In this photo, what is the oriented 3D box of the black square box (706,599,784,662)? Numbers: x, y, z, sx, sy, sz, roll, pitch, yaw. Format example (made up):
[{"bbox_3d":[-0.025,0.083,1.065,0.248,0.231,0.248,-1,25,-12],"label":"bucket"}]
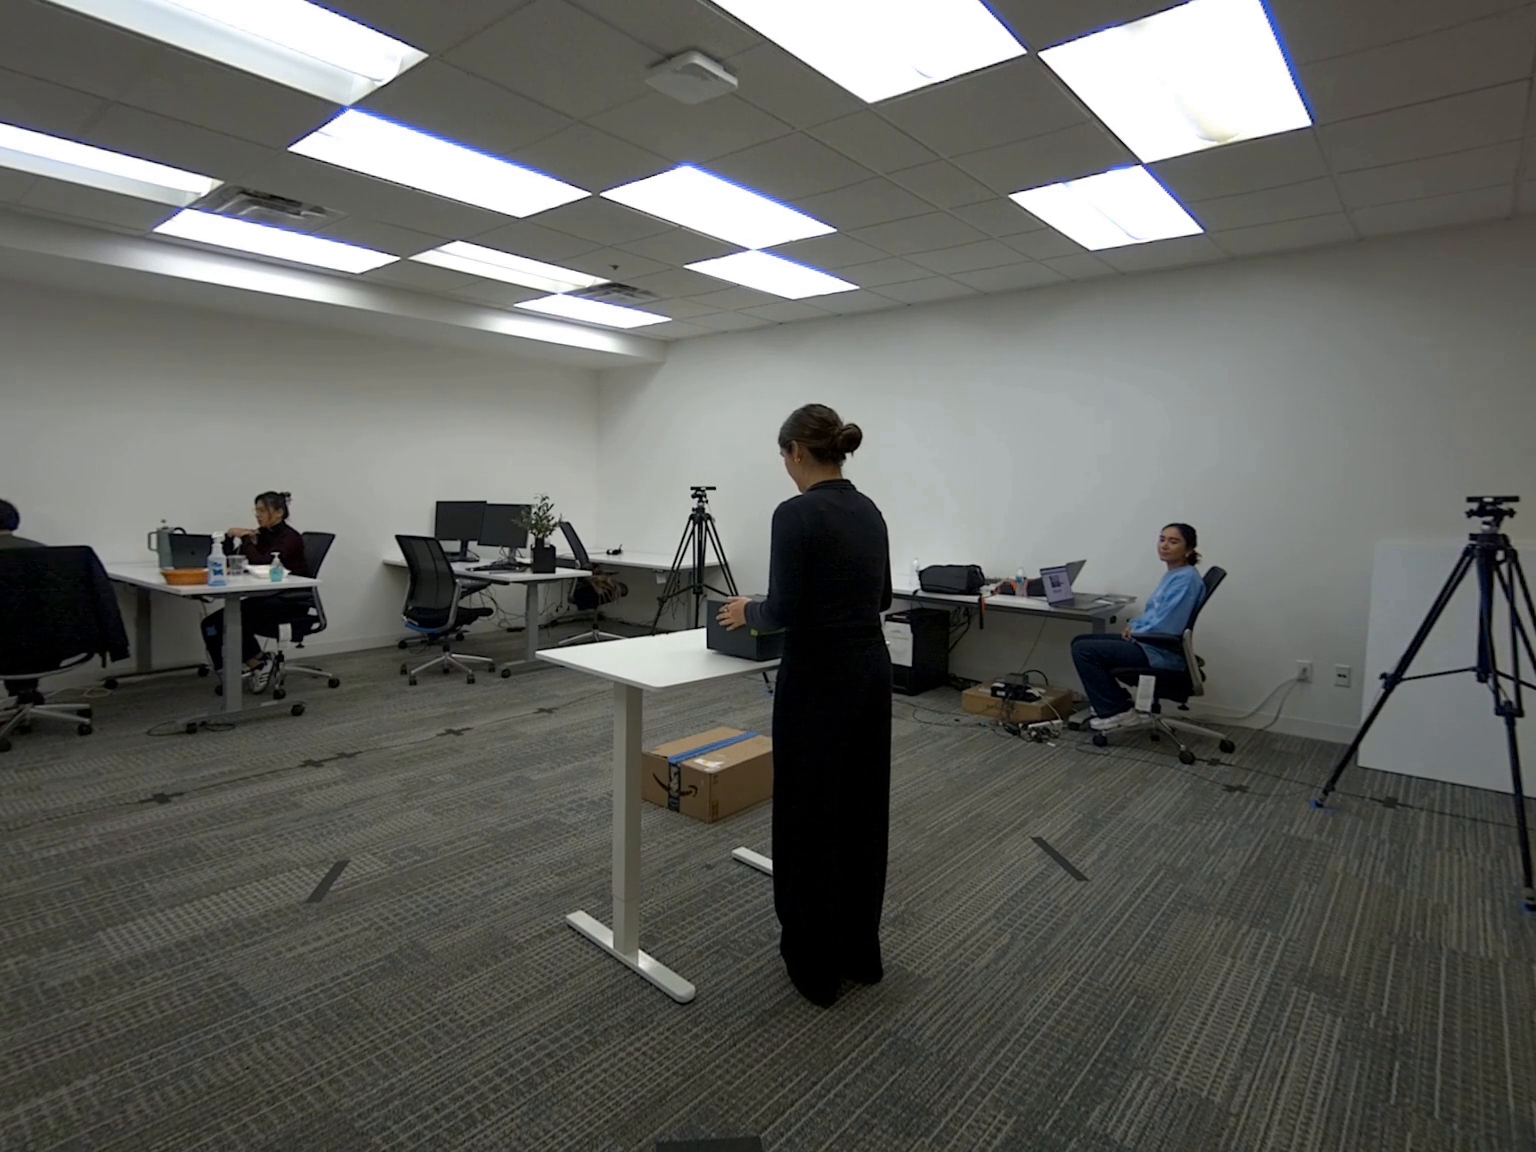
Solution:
[{"bbox_3d":[-0.049,0.149,2.619,0.224,0.155,0.221,6,6,42],"label":"black square box"}]
